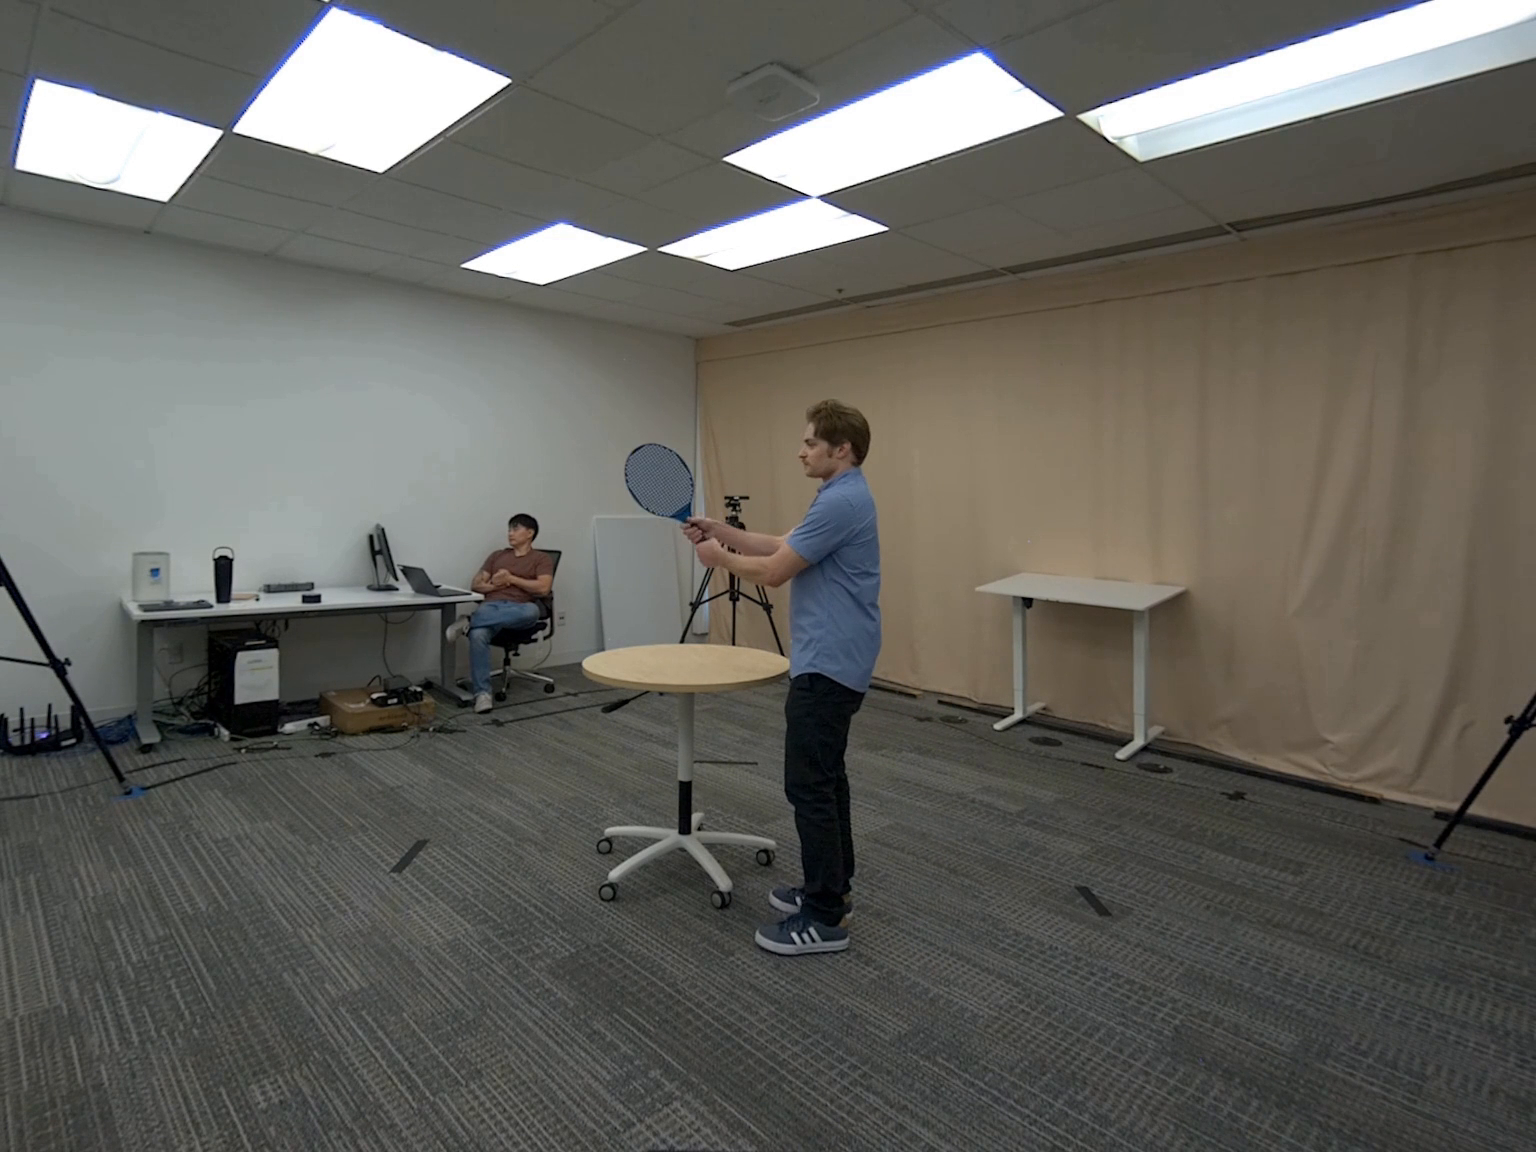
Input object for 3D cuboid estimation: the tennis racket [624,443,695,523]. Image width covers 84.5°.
[{"bbox_3d":[-0.318,-0.258,2.859,0.214,0.428,0.032,-33,11,6],"label":"tennis racket"}]
